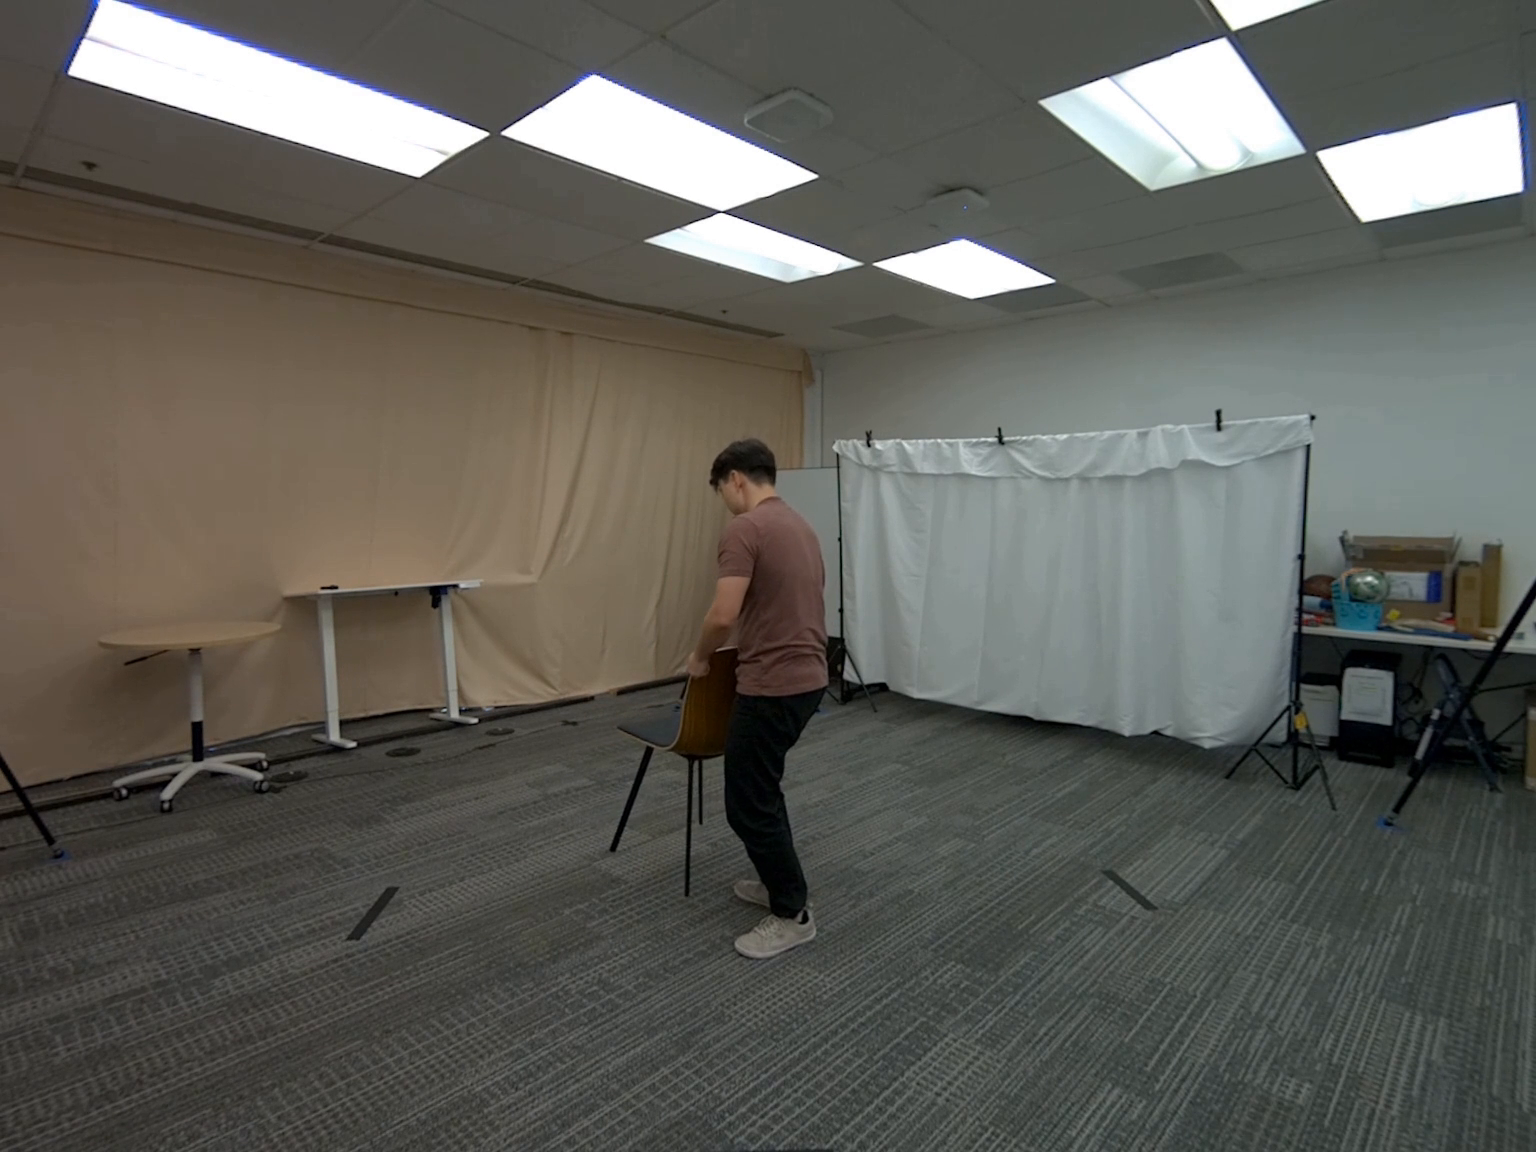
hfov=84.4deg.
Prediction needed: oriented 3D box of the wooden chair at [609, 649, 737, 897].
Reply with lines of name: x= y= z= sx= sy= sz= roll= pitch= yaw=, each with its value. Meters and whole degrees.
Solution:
wooden chair: x=-0.273 y=0.625 z=3.108 sx=0.463 sy=0.873 sz=0.542 roll=-3 pitch=11 yaw=-43
